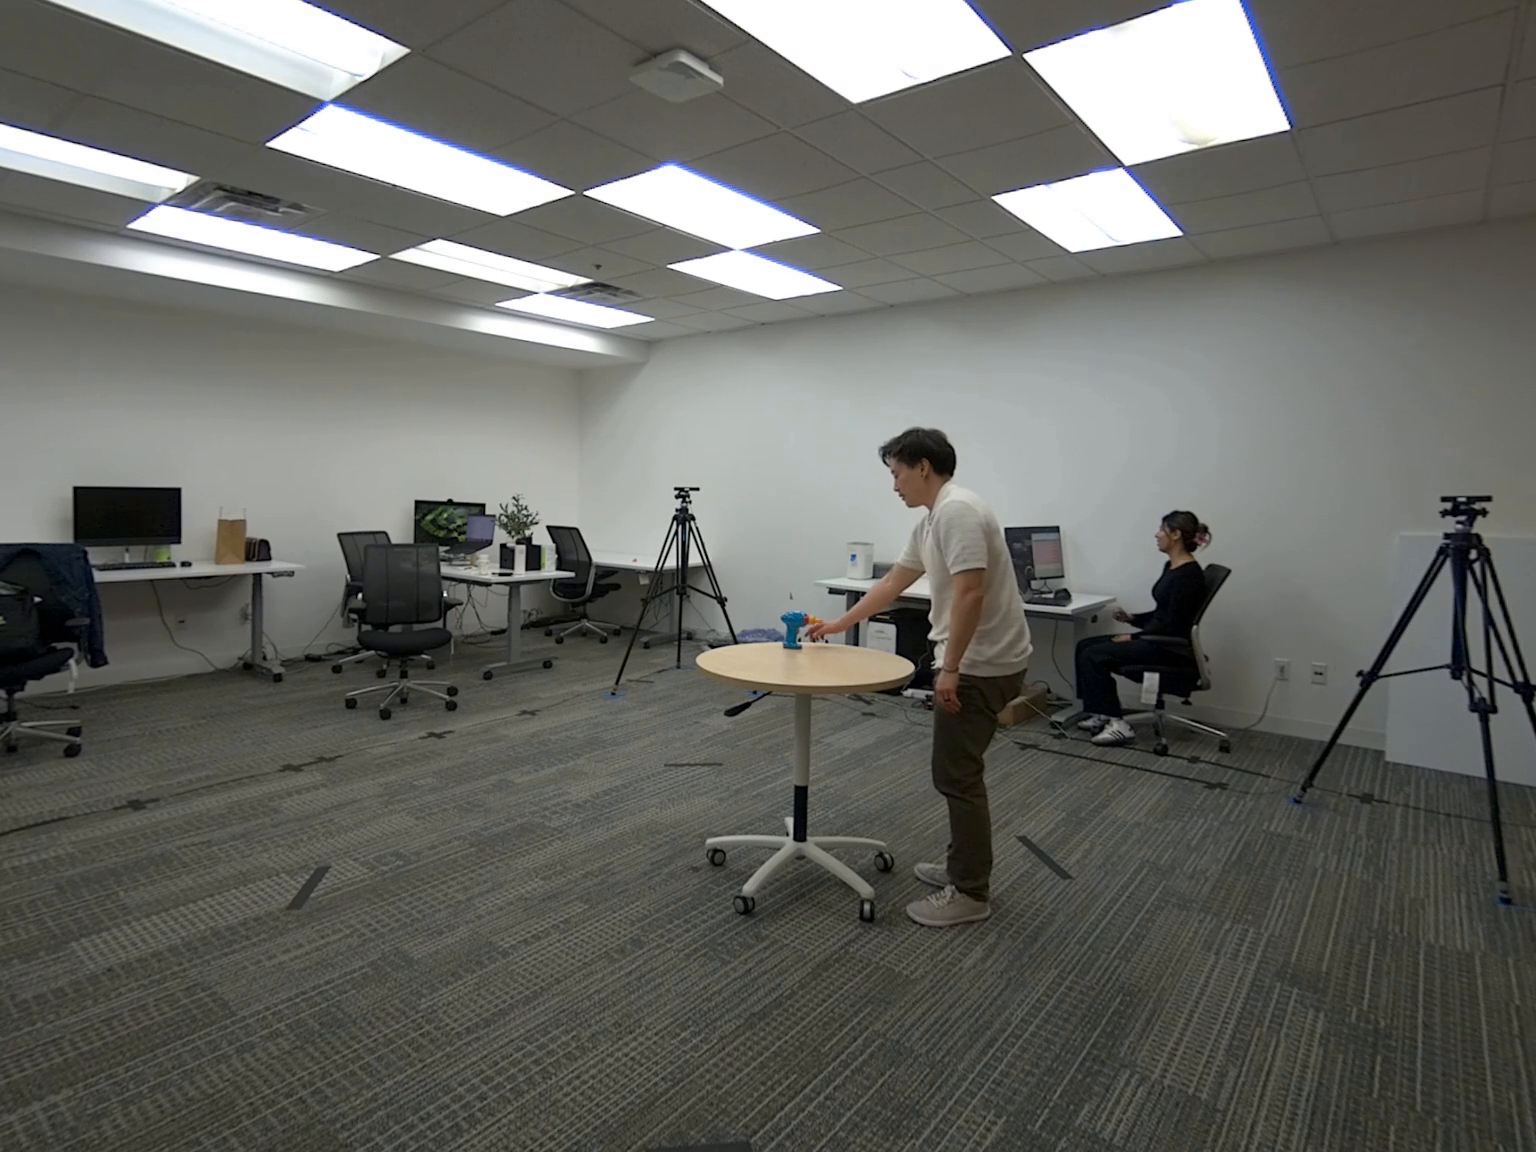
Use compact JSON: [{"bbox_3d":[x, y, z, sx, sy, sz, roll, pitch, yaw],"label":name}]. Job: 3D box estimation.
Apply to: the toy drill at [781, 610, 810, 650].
[{"bbox_3d":[0.127,0.201,3.253,0.172,0.145,0.060,2,3,13],"label":"toy drill"}]
